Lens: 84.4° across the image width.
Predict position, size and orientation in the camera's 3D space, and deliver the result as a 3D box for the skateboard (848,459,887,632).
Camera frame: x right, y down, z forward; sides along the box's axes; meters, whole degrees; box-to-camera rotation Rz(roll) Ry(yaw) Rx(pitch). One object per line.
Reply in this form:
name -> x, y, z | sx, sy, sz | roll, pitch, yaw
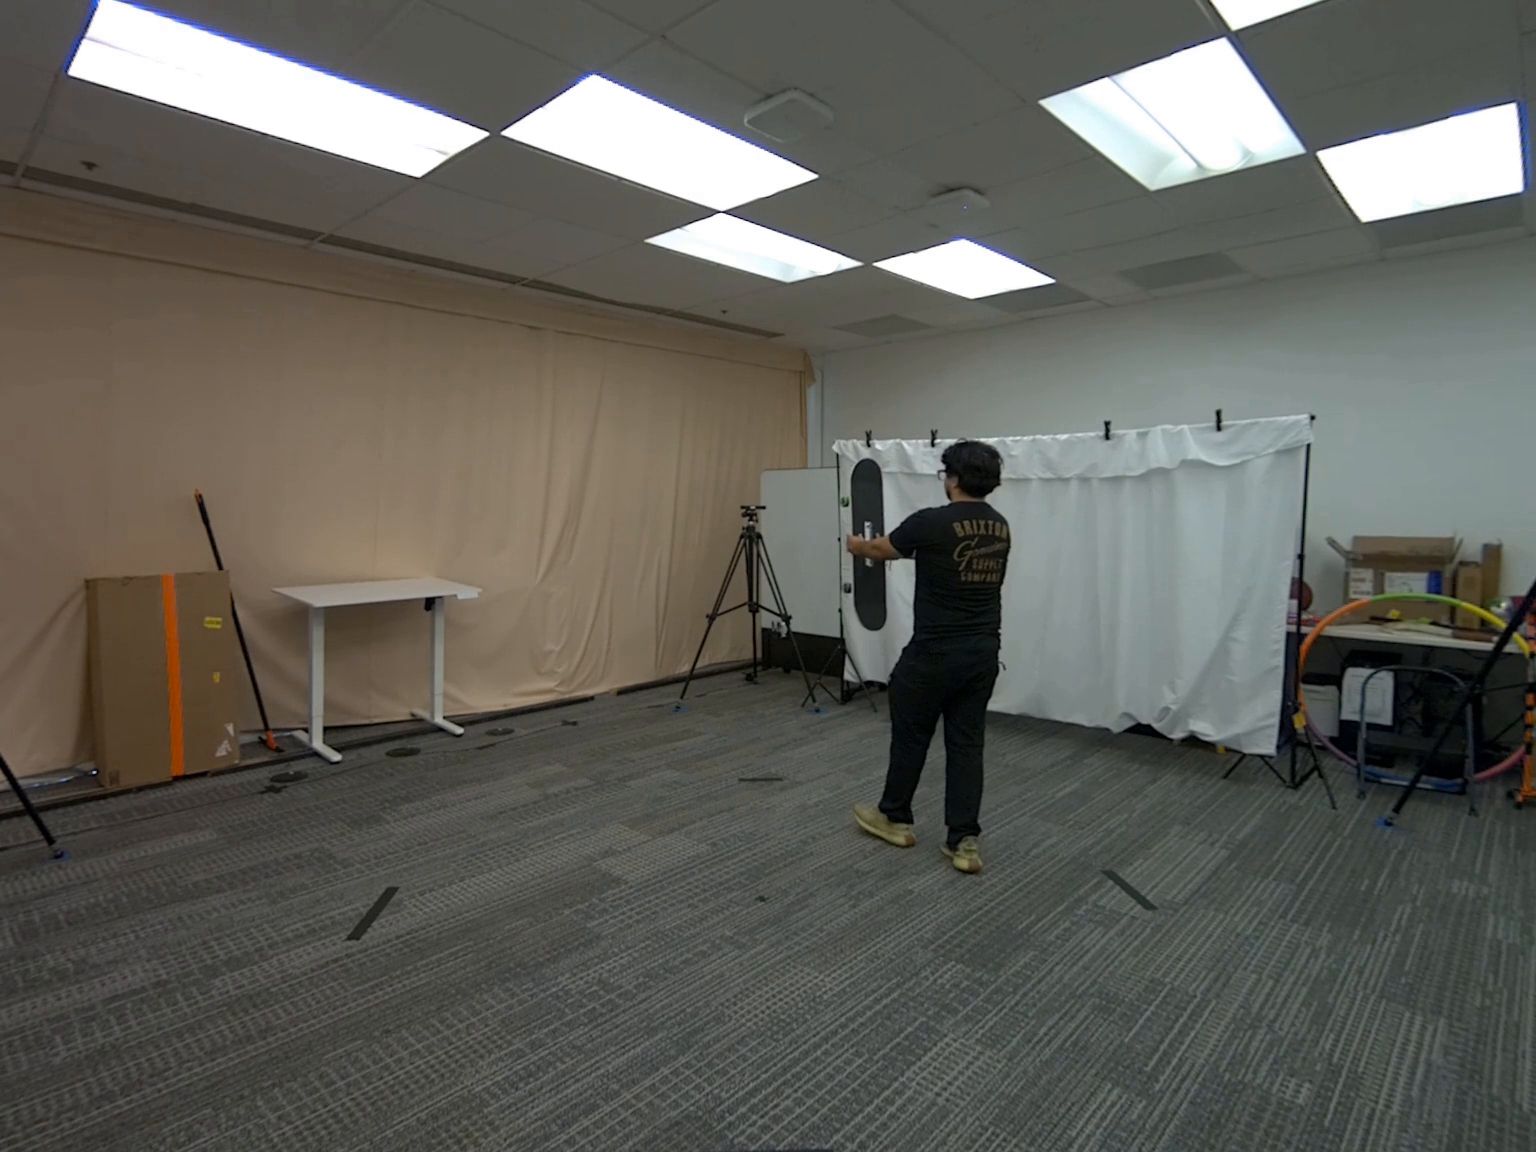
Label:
skateboard -> 0.443, -0.140, 3.844 | 0.188, 0.789, 0.113 | 3, -9, -31
